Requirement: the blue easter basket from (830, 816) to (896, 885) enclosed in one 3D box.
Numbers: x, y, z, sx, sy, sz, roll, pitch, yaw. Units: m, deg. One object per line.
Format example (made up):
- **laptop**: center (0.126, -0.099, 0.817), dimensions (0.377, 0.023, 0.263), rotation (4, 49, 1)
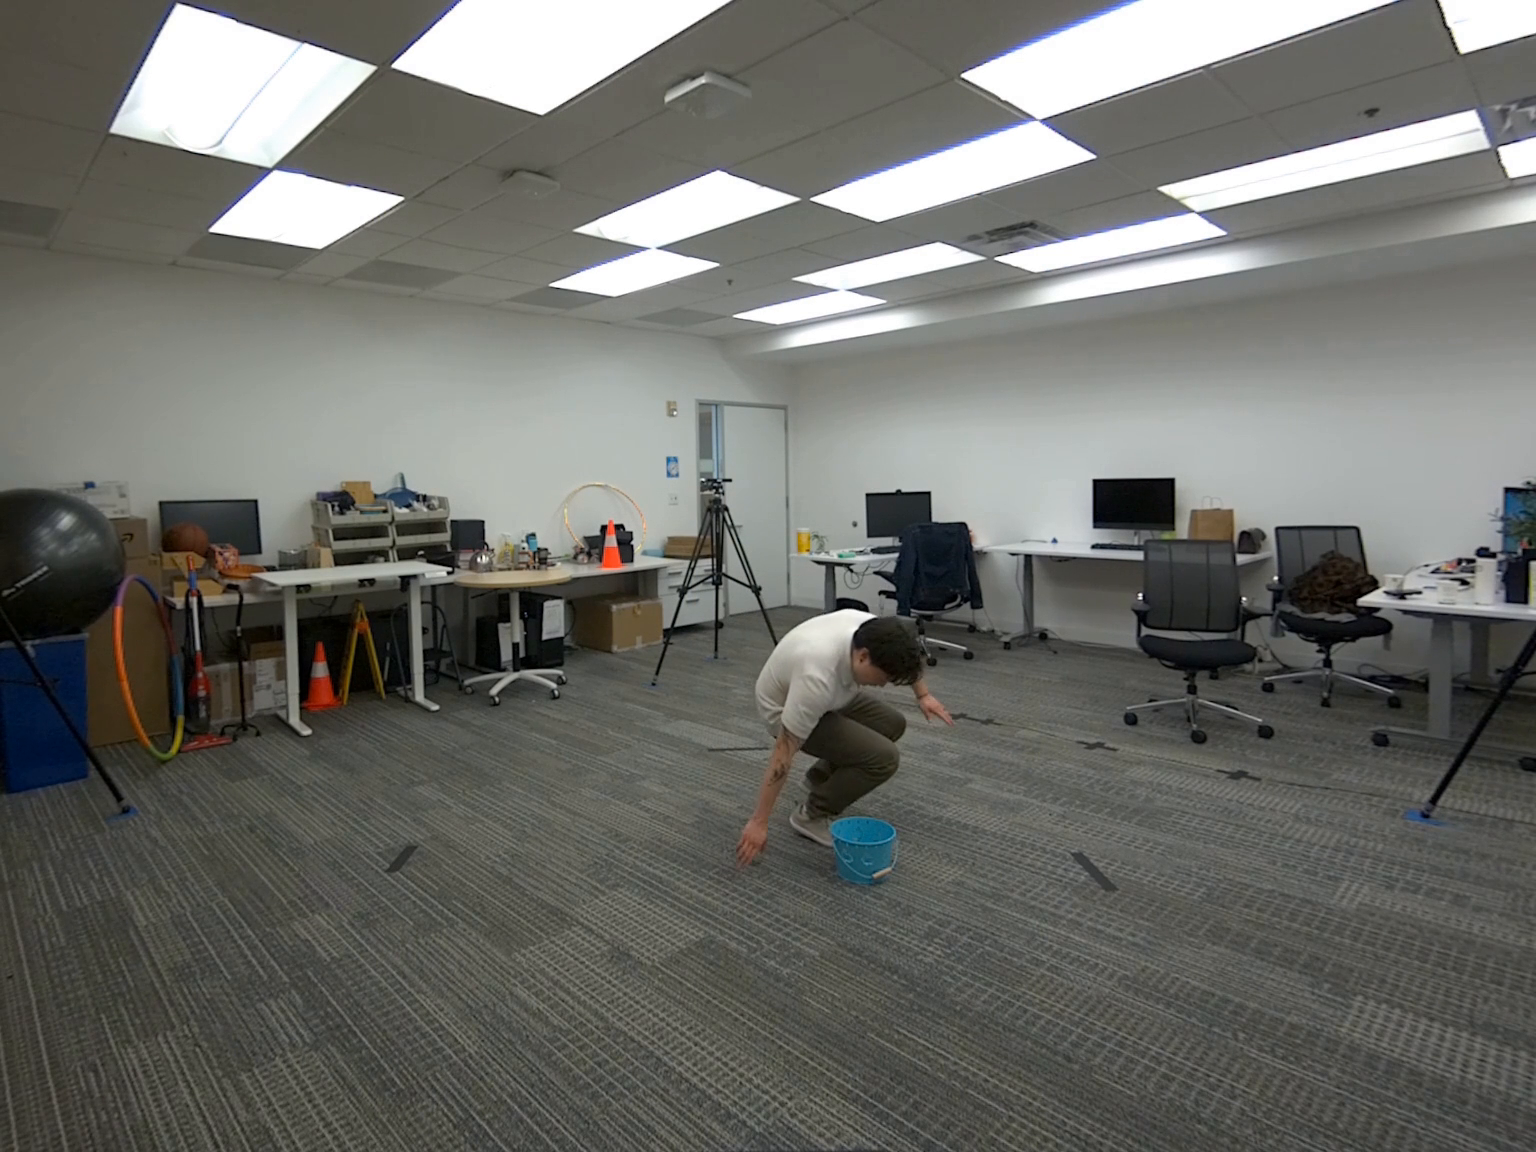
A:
- **blue easter basket**: center (0.336, 0.977, 3.017), dimensions (0.243, 0.155, 0.245), rotation (-2, 5, -2)
